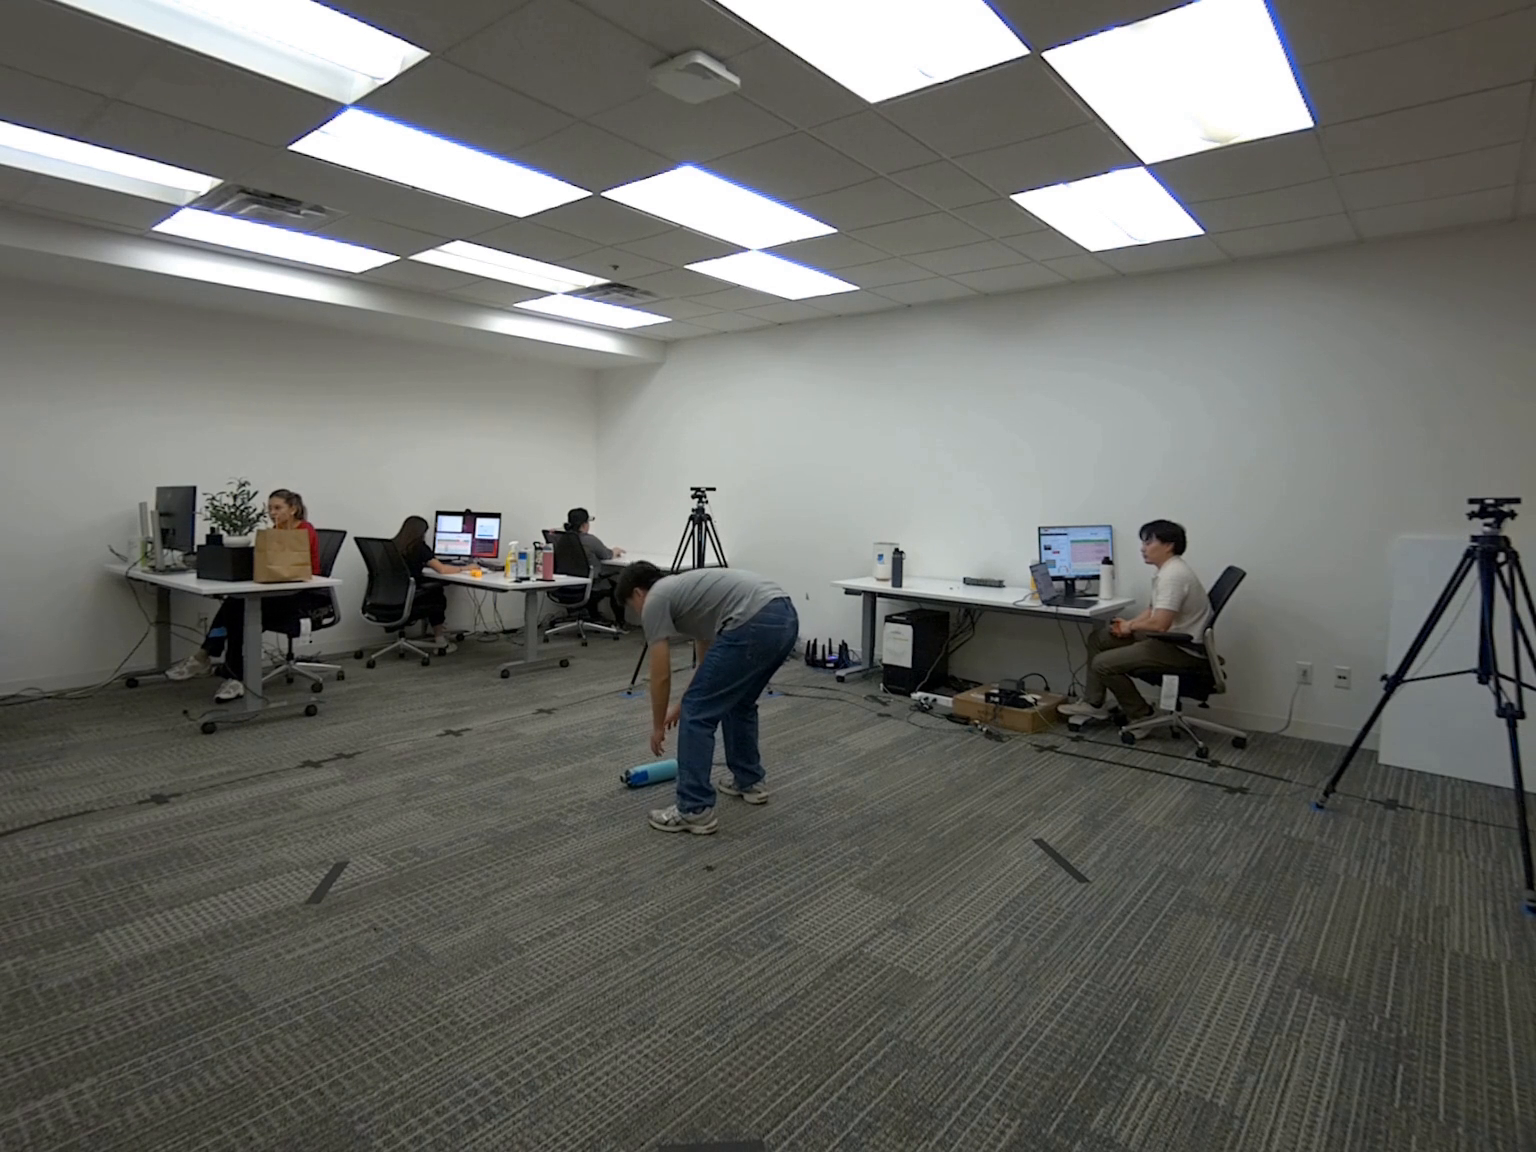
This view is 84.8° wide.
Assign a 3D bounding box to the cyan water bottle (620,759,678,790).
[{"bbox_3d":[-0.568,0.925,4.006,0.275,0.092,0.095,-4,6,-36],"label":"cyan water bottle"}]
